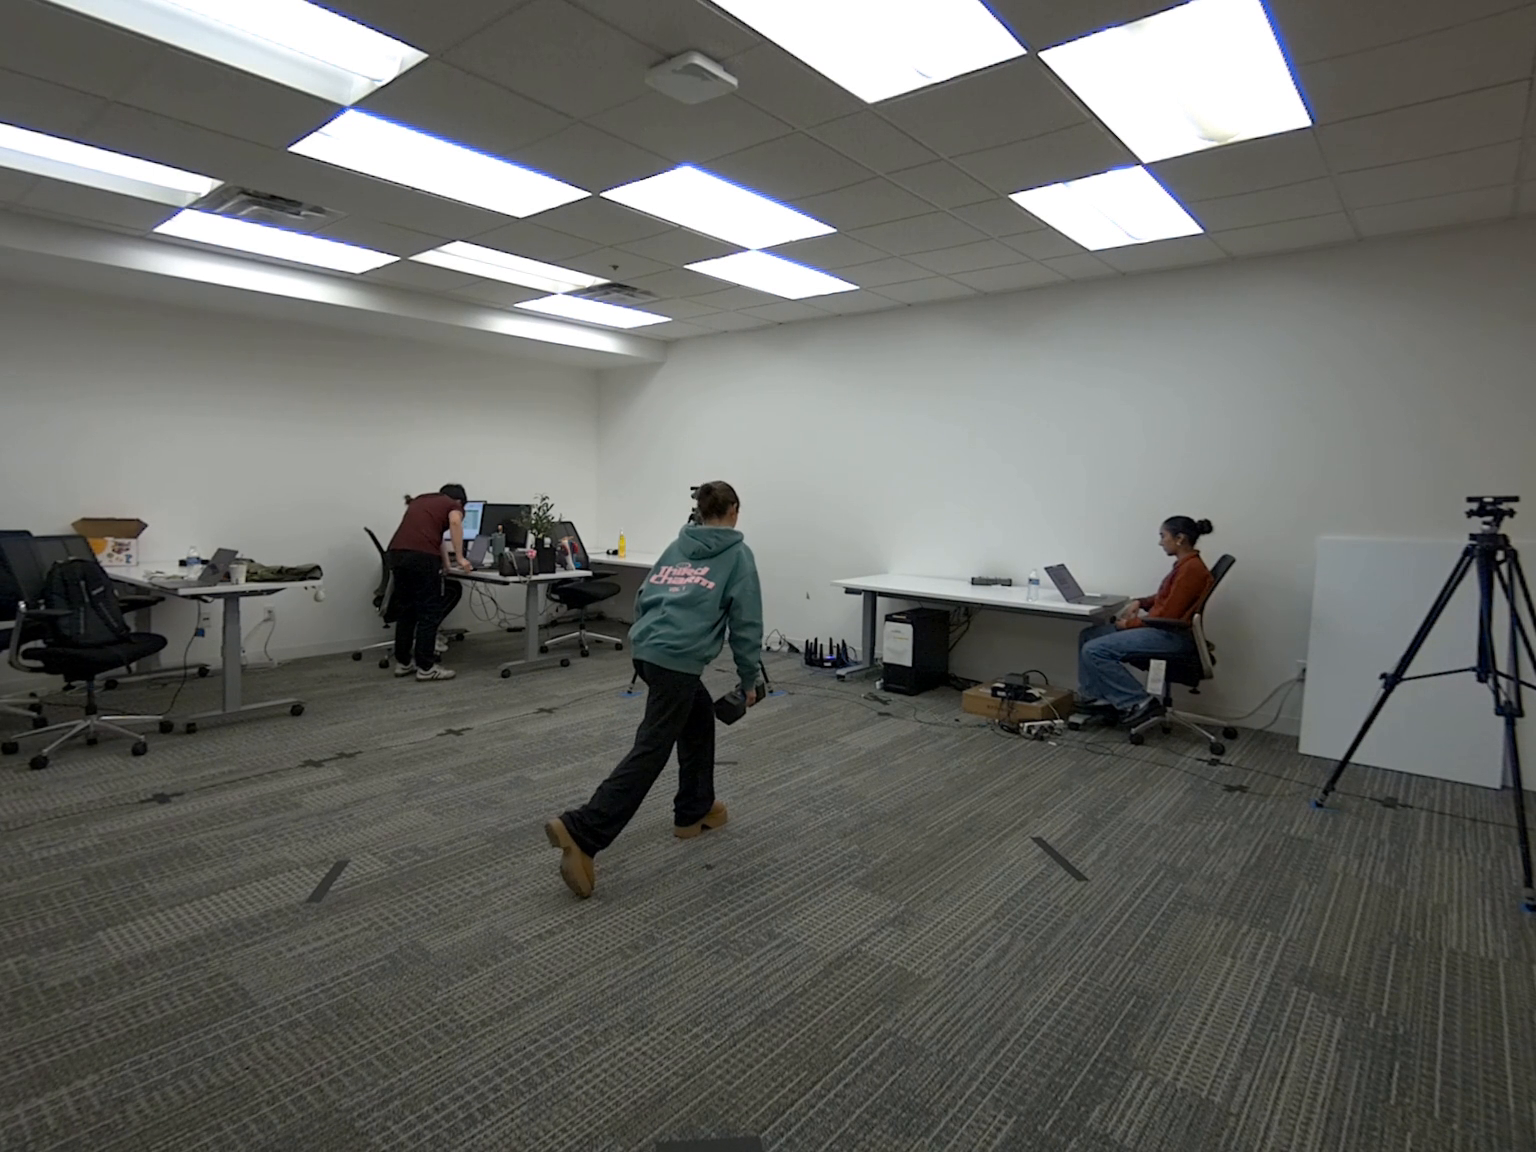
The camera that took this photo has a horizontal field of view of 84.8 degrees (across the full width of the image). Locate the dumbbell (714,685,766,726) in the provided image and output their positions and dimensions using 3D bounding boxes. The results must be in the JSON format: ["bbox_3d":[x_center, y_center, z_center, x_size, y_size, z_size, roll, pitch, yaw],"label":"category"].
[{"bbox_3d":[-0.118,0.493,3.395,0.124,0.109,0.289,-35,-3,25],"label":"dumbbell"}]
